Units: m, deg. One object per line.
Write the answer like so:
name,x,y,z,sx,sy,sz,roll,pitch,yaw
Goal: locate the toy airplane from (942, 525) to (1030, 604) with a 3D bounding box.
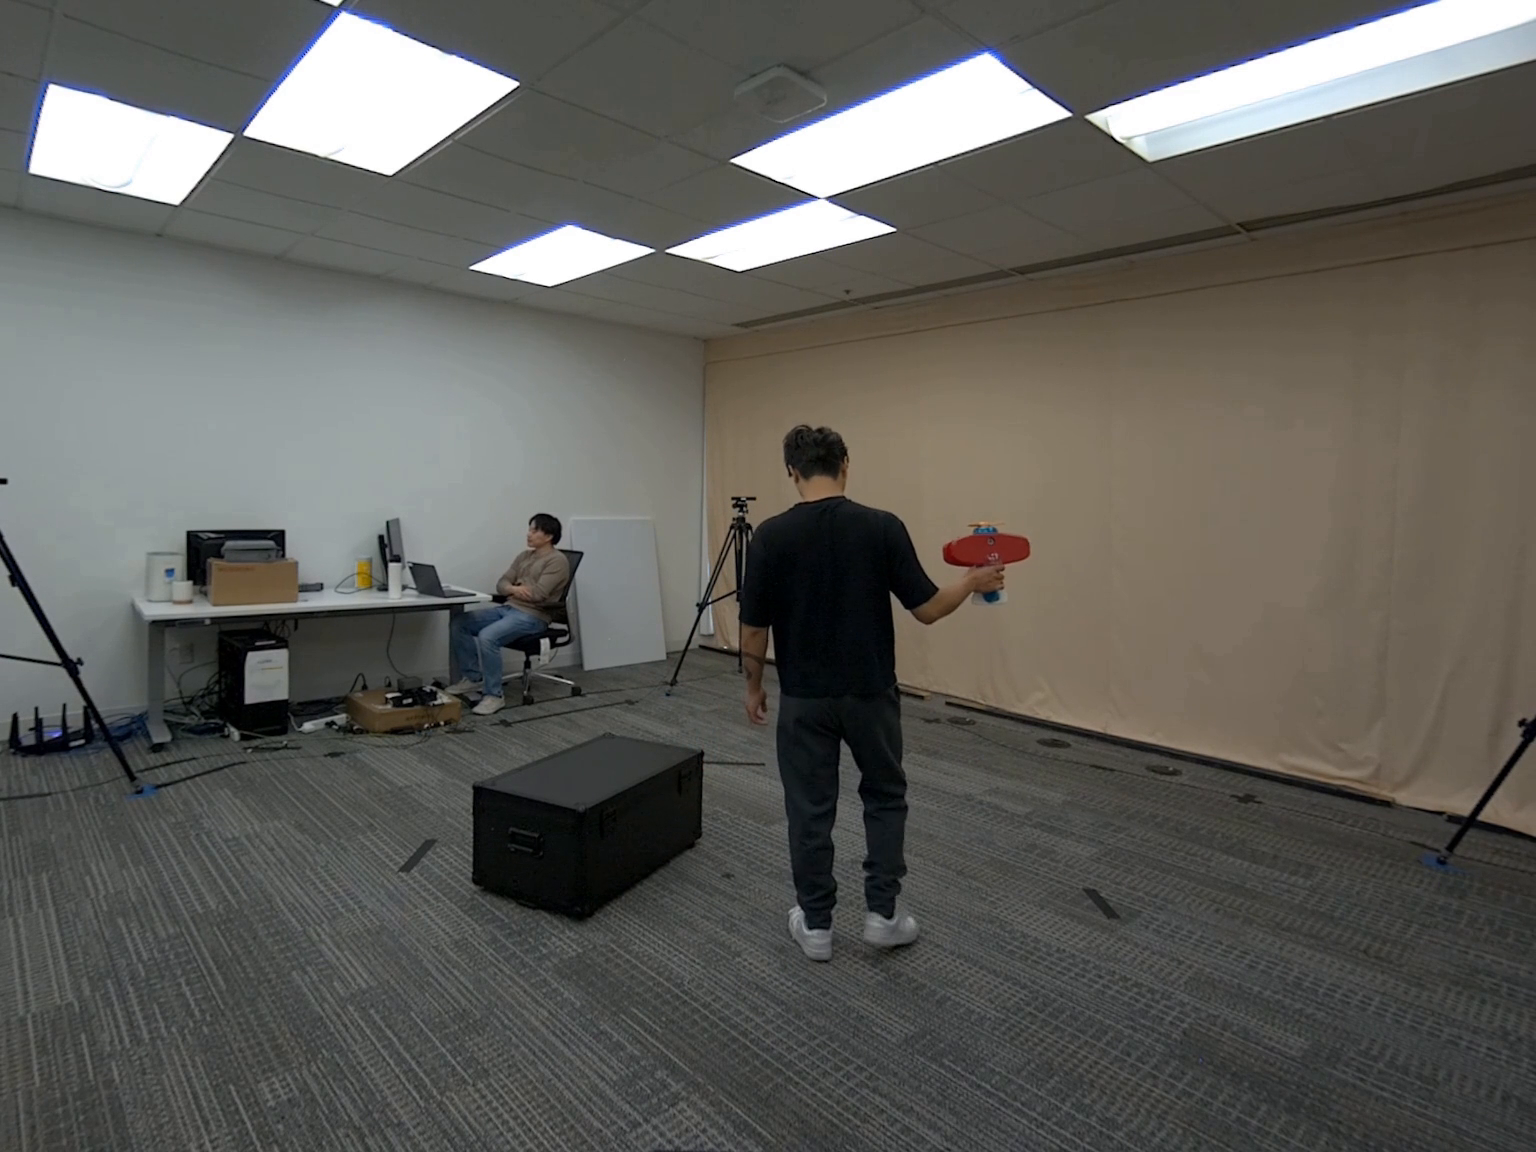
toy airplane,0.710,-0.037,2.703,0.250,0.263,0.154,-29,-16,-14
